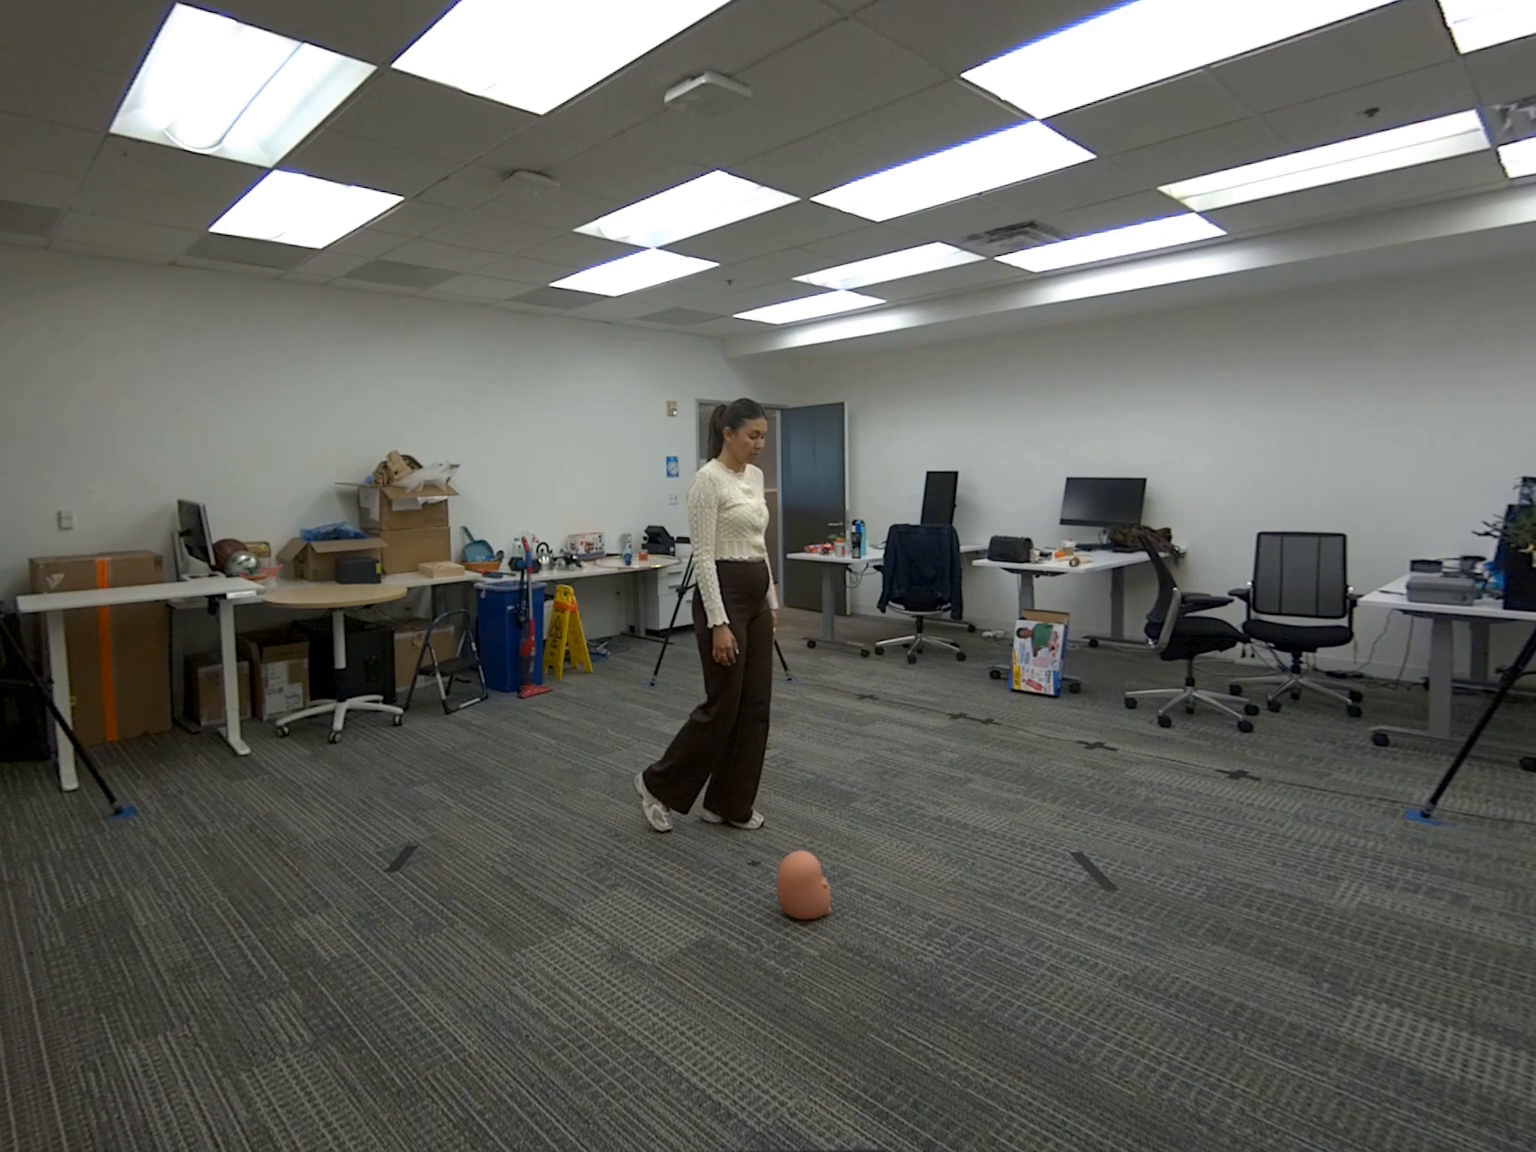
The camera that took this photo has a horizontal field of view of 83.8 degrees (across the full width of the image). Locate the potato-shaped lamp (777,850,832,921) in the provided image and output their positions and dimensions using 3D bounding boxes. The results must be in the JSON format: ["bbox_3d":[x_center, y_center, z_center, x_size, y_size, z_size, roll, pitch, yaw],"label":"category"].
[{"bbox_3d":[0.117,0.978,2.743,0.169,0.197,0.168,-8,7,-18],"label":"potato-shaped lamp"}]
